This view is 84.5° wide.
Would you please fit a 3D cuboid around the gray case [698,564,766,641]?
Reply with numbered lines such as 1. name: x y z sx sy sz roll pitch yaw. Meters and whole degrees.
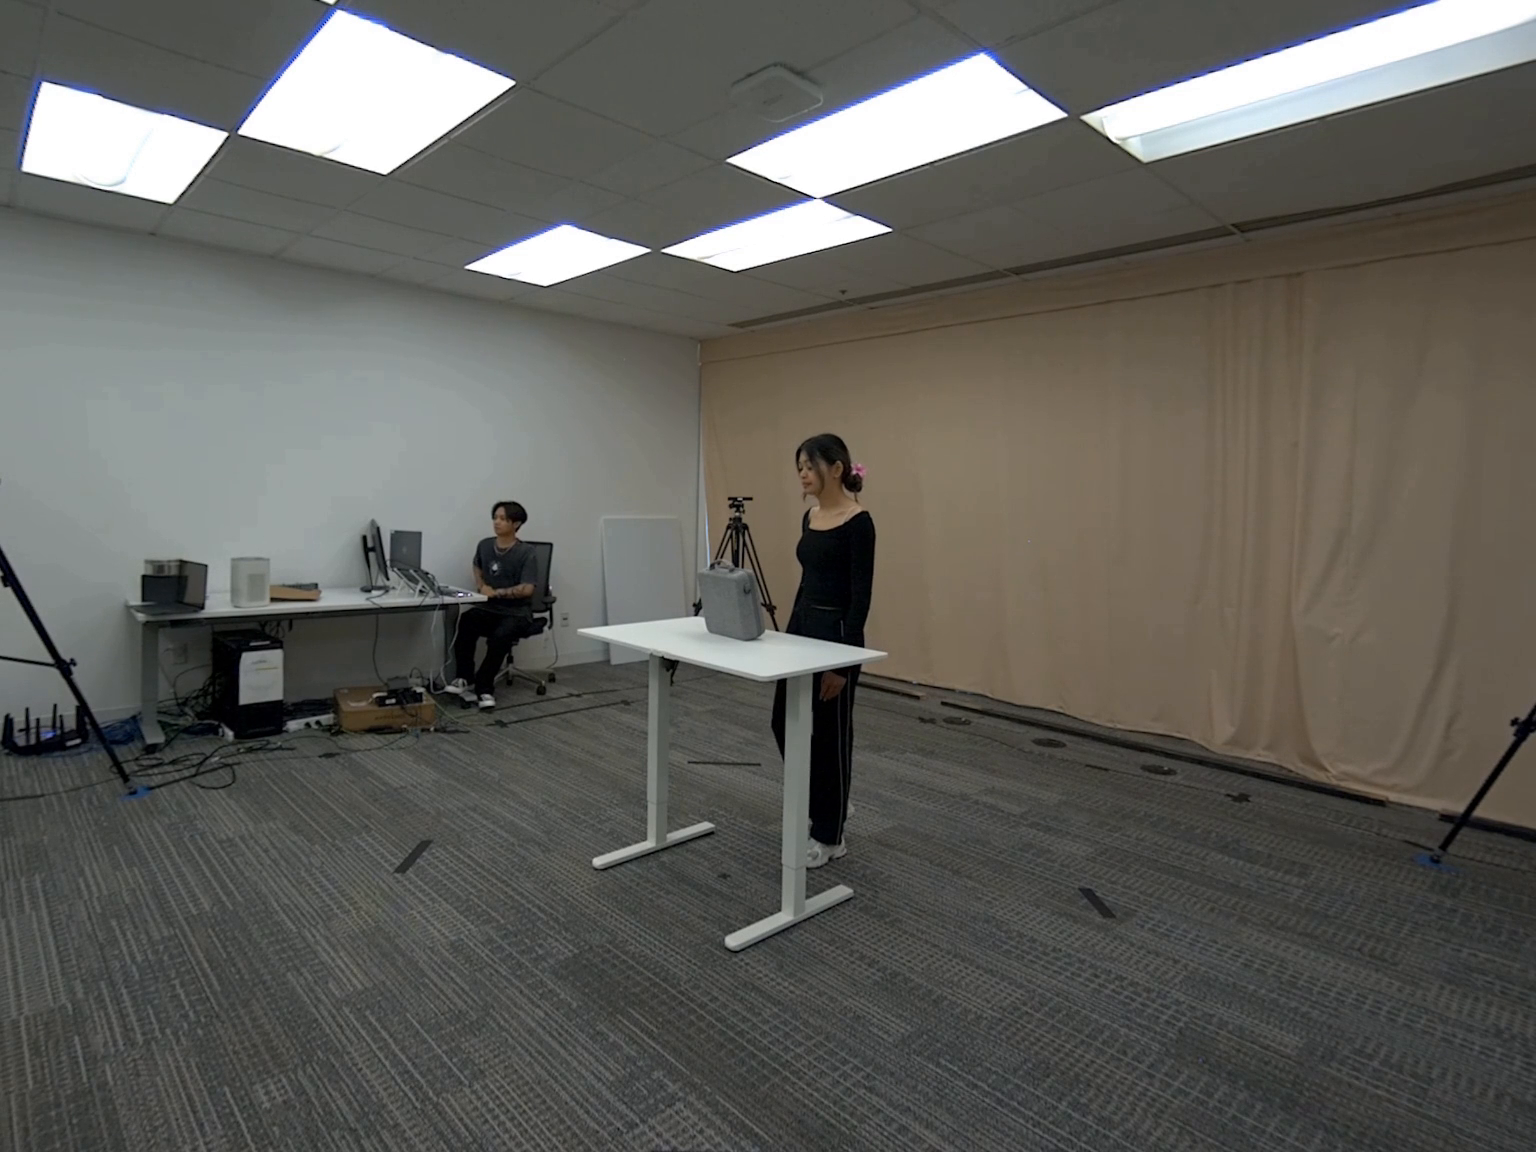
1. gray case: -0.142 0.093 3.096 0.103 0.258 0.263 -16 14 -34
